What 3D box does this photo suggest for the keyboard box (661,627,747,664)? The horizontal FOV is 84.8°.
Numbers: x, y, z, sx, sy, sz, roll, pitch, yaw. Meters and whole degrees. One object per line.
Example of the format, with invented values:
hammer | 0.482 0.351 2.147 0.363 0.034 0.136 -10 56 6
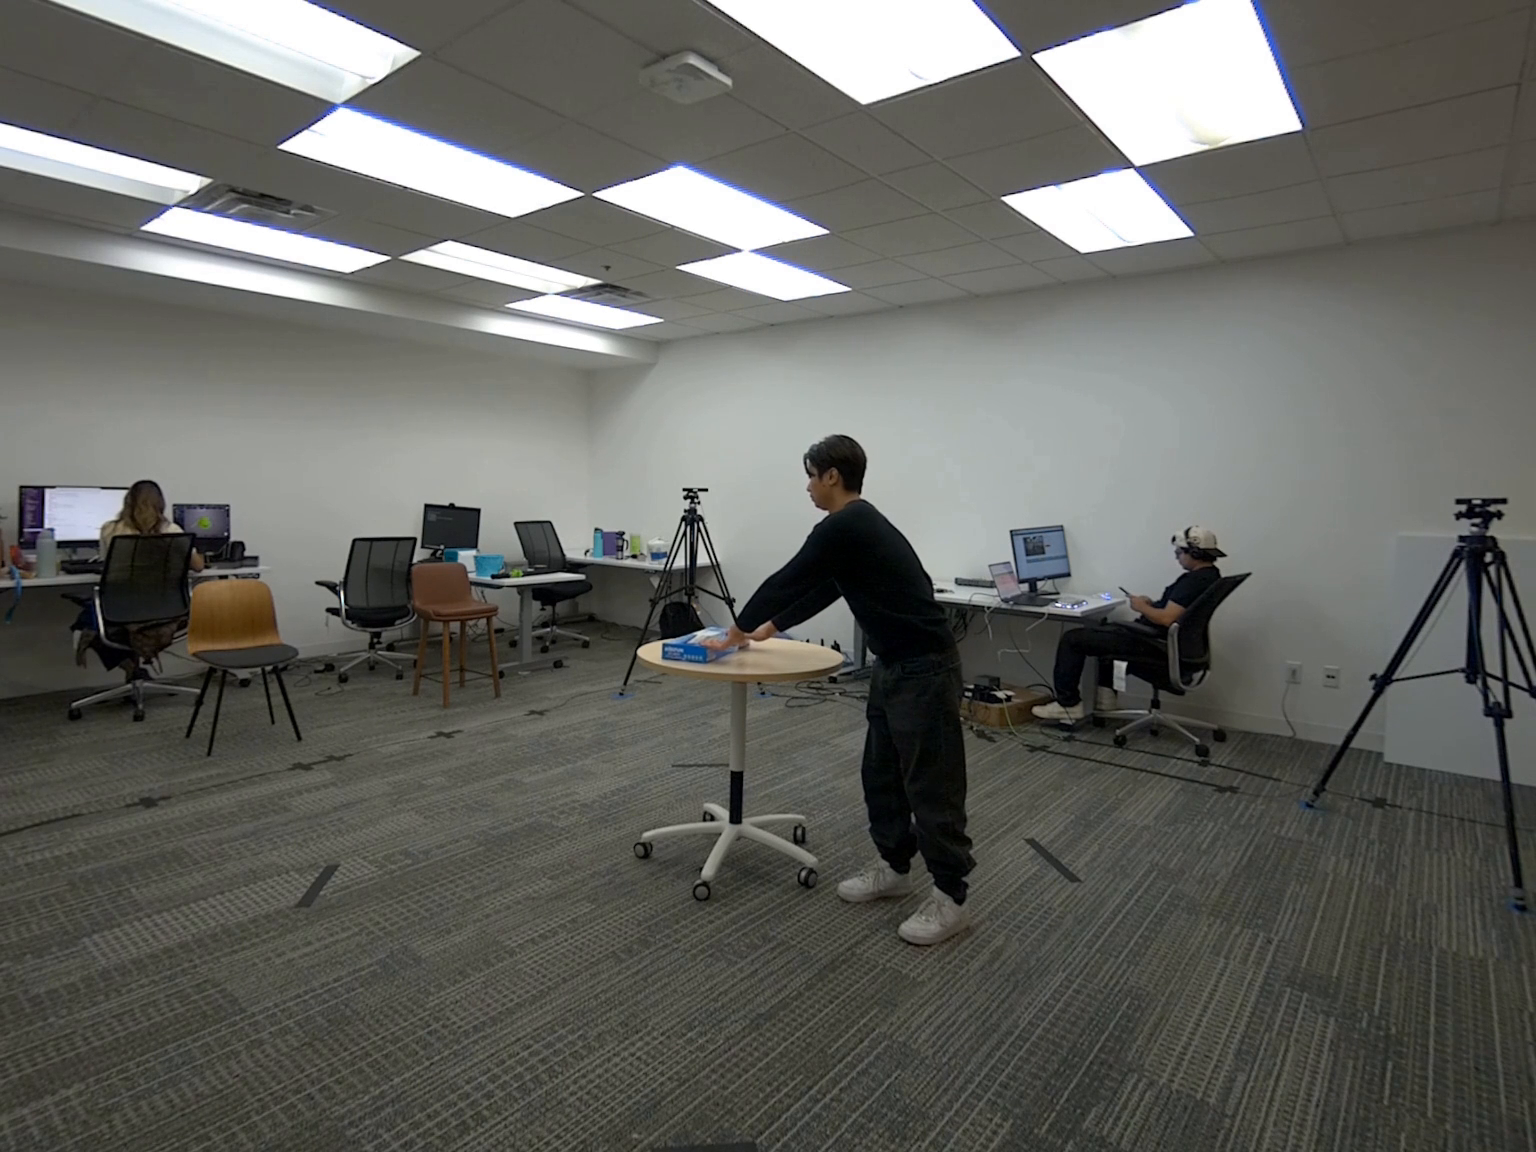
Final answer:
keyboard box | -0.226 0.251 3.175 0.180 0.059 0.429 3 5 19
